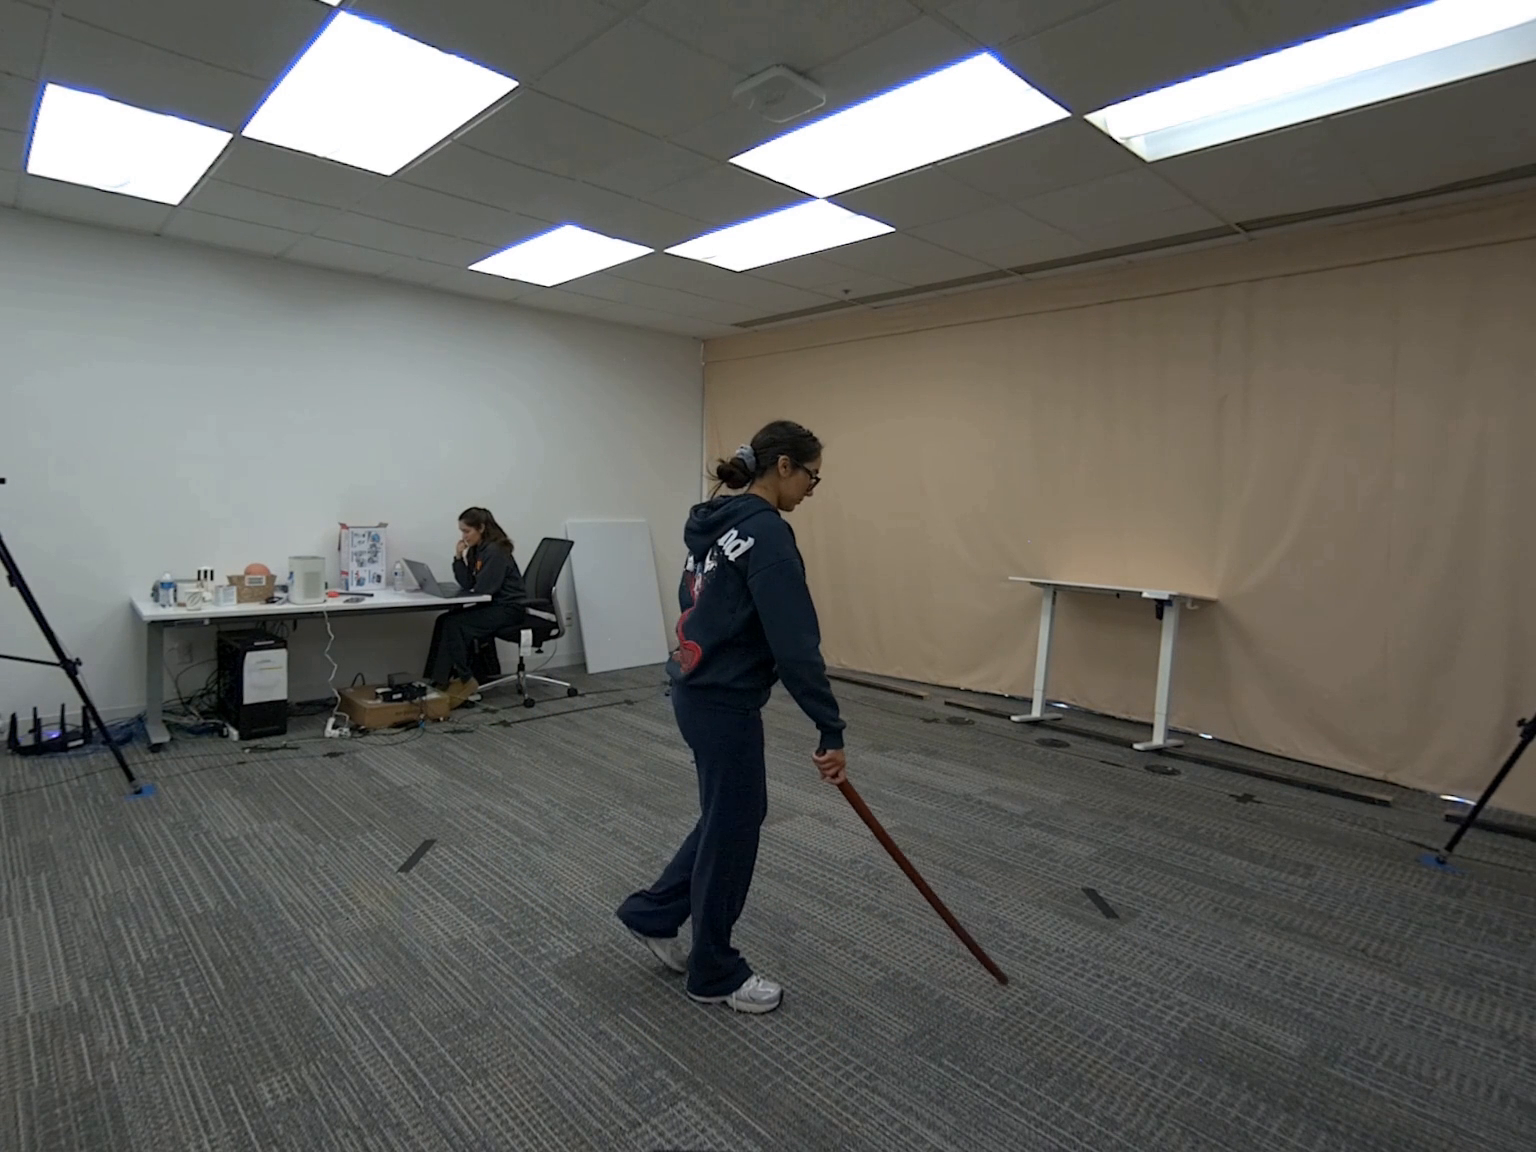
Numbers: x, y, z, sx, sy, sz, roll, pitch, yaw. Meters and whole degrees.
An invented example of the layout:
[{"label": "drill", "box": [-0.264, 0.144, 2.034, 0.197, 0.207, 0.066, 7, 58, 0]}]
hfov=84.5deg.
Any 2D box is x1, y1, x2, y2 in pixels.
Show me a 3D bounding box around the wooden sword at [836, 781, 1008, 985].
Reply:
[{"label": "wooden sword", "box": [0.393, 0.826, 2.272, 0.024, 1.001, 0.051, -12, 35, 48]}]
